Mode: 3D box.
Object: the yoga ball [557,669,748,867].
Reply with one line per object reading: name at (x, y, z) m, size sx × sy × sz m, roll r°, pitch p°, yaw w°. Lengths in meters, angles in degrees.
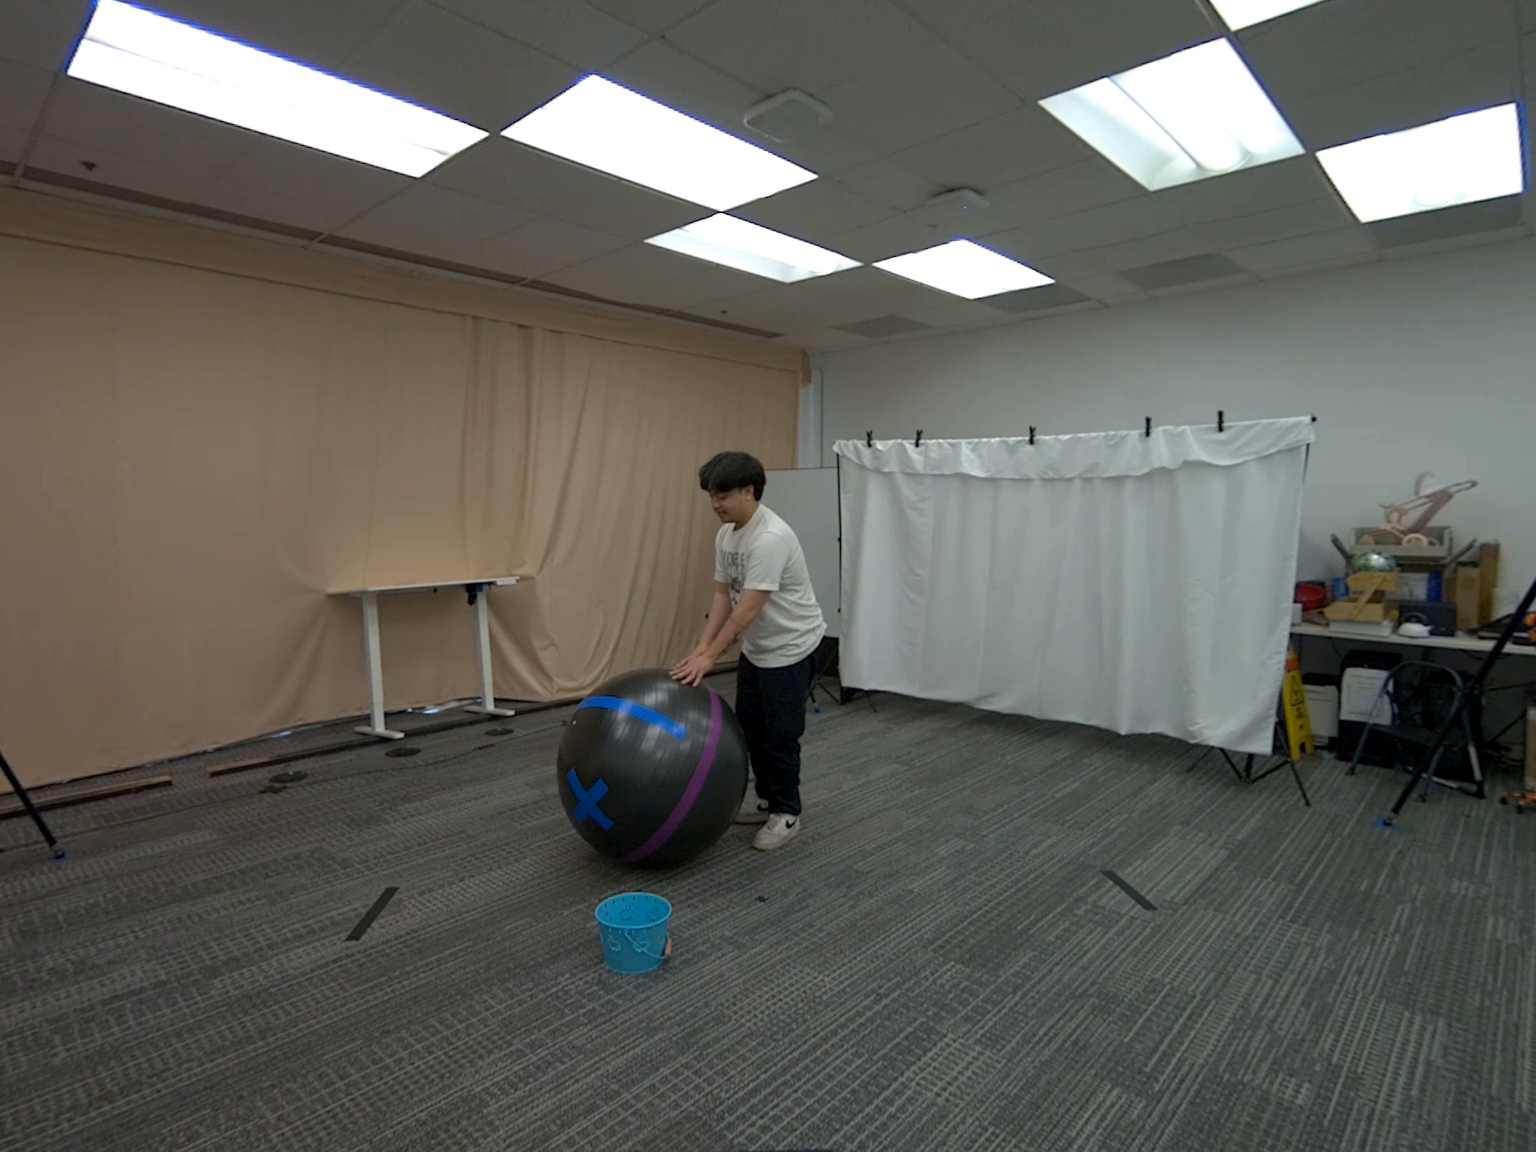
yoga ball at (-0.460, 0.753, 3.337) m, size 0.757 × 0.756 × 0.760 m, roll 0°, pitch 4°, yaw -2°
